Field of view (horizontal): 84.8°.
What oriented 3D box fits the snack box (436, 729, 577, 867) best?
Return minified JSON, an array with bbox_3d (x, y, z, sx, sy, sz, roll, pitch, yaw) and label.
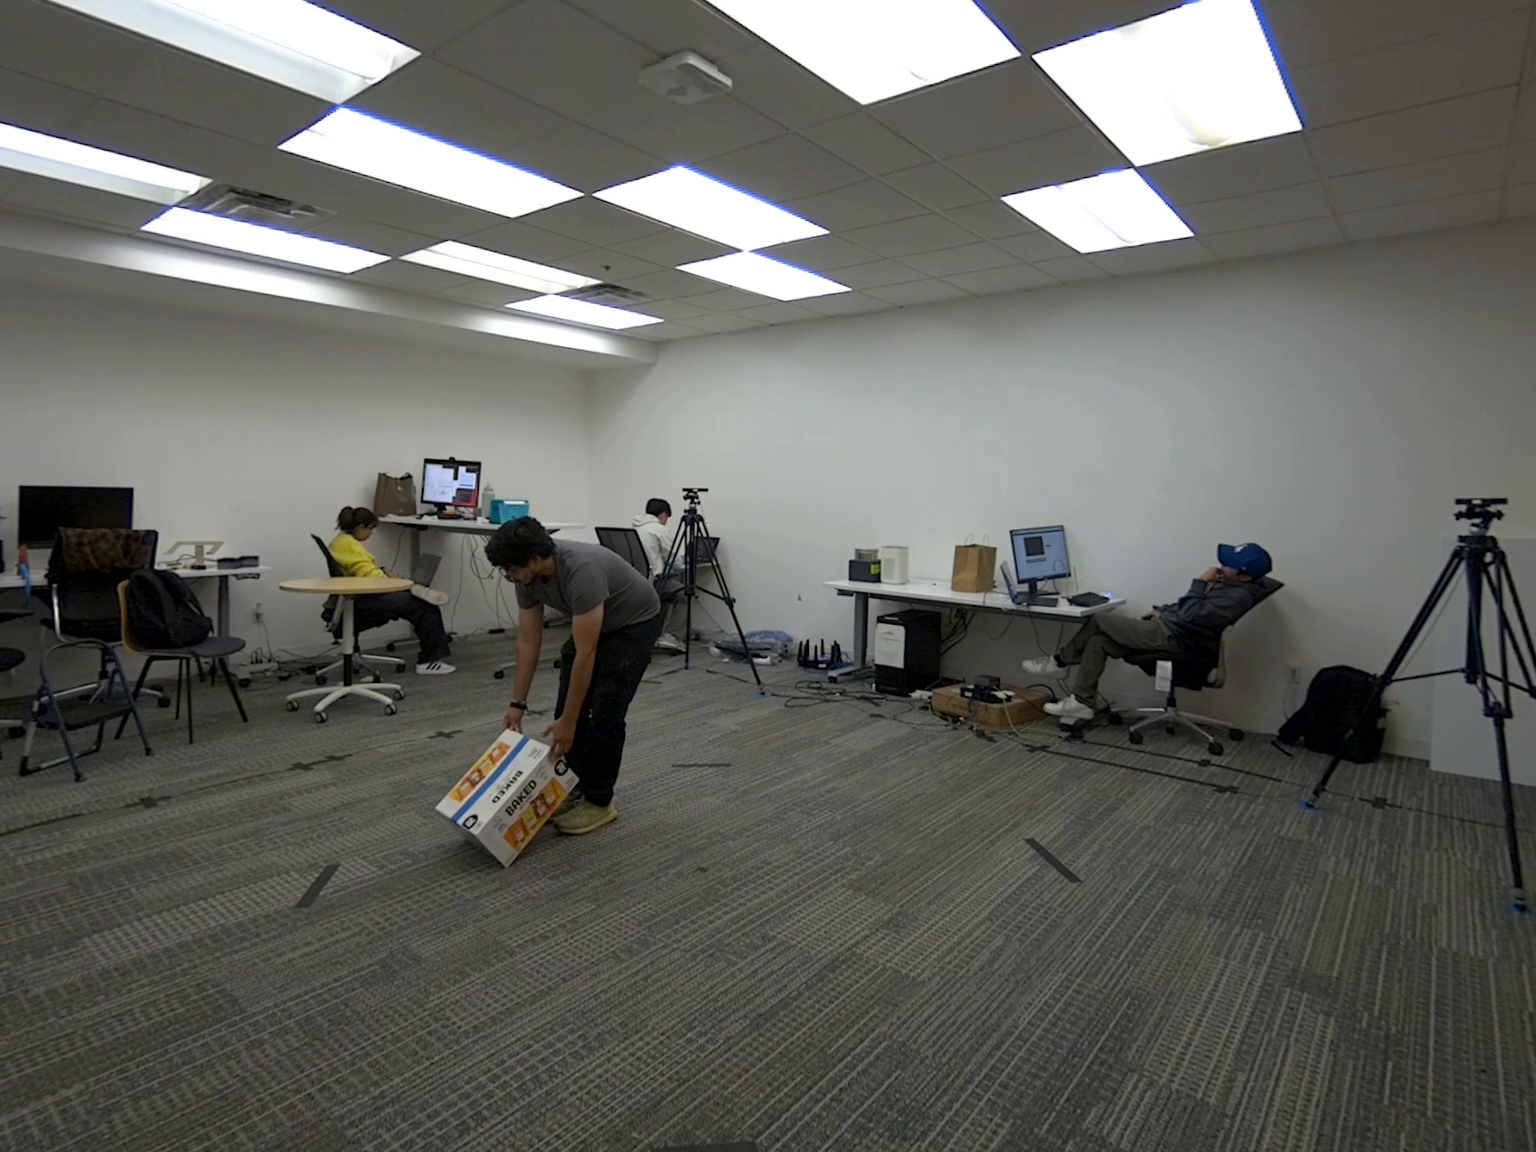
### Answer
[{"bbox_3d":[-1.016,0.840,3.264,0.352,0.199,0.405,5,45,45],"label":"snack box"}]
